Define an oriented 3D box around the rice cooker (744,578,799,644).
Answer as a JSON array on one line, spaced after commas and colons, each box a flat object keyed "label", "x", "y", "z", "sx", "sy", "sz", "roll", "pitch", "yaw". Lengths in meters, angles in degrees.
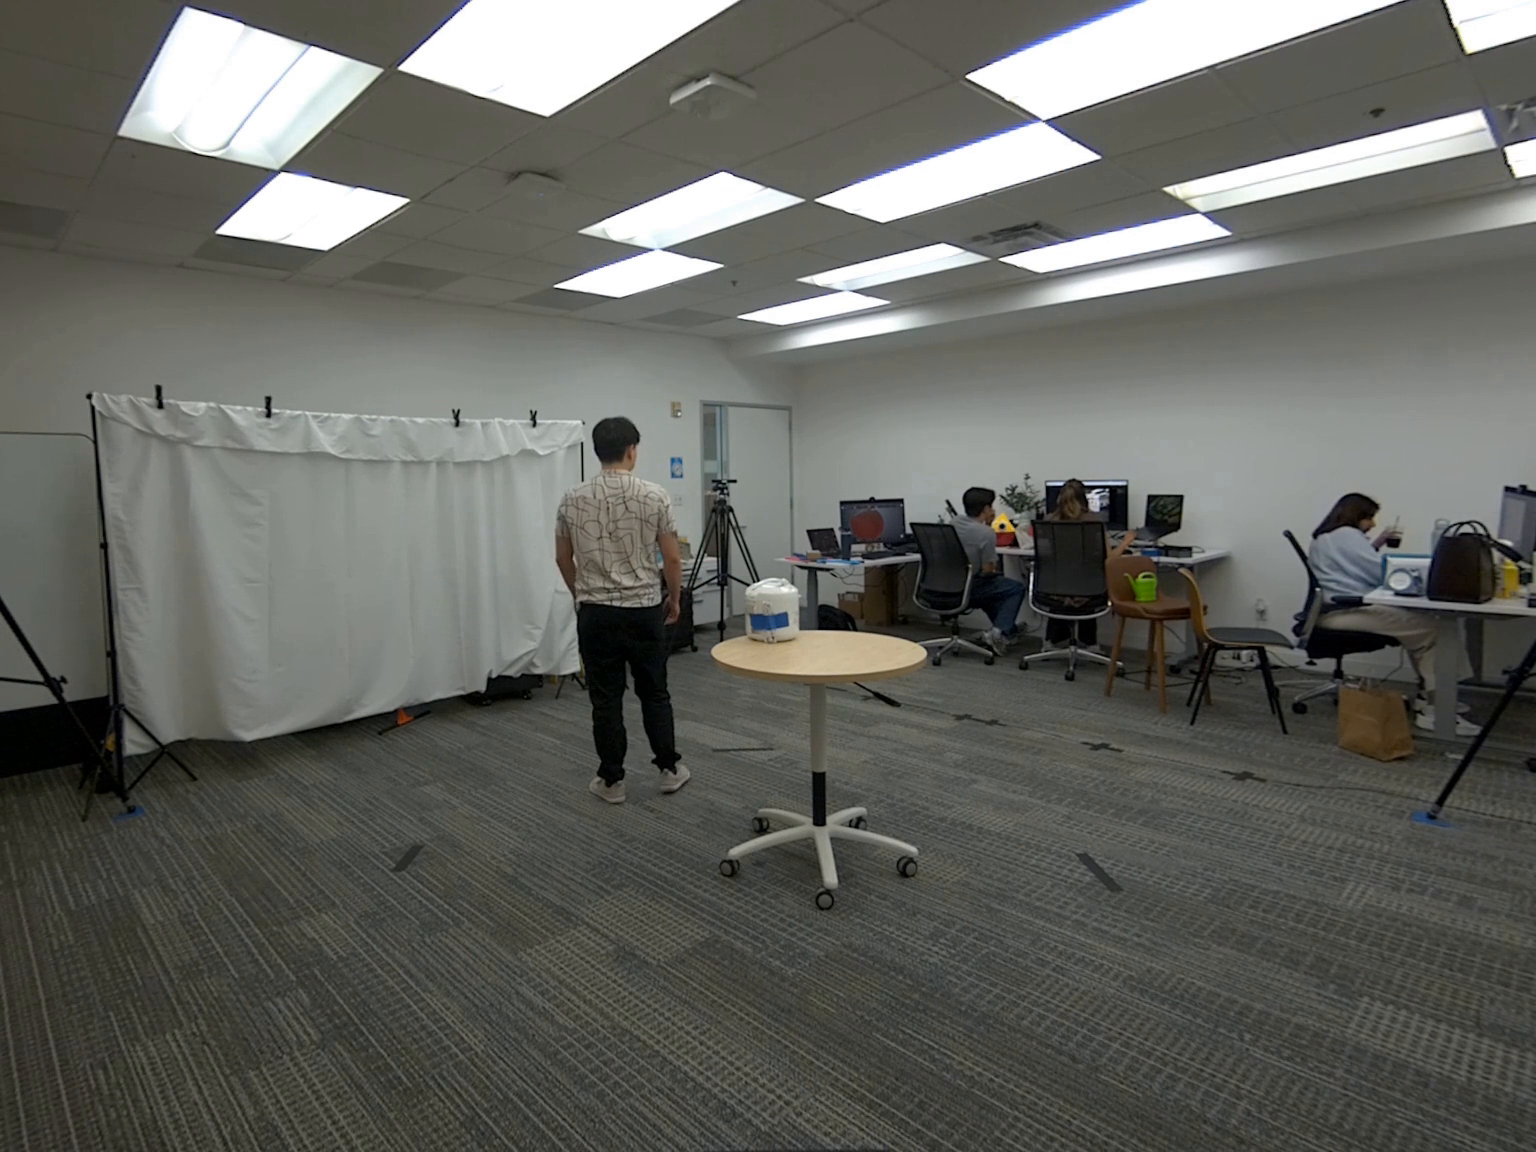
[{"label": "rice cooker", "x": 0.016, "y": 0.124, "z": 3.291, "sx": 0.215, "sy": 0.232, "sz": 0.224, "roll": -4, "pitch": 7, "yaw": -36}]
